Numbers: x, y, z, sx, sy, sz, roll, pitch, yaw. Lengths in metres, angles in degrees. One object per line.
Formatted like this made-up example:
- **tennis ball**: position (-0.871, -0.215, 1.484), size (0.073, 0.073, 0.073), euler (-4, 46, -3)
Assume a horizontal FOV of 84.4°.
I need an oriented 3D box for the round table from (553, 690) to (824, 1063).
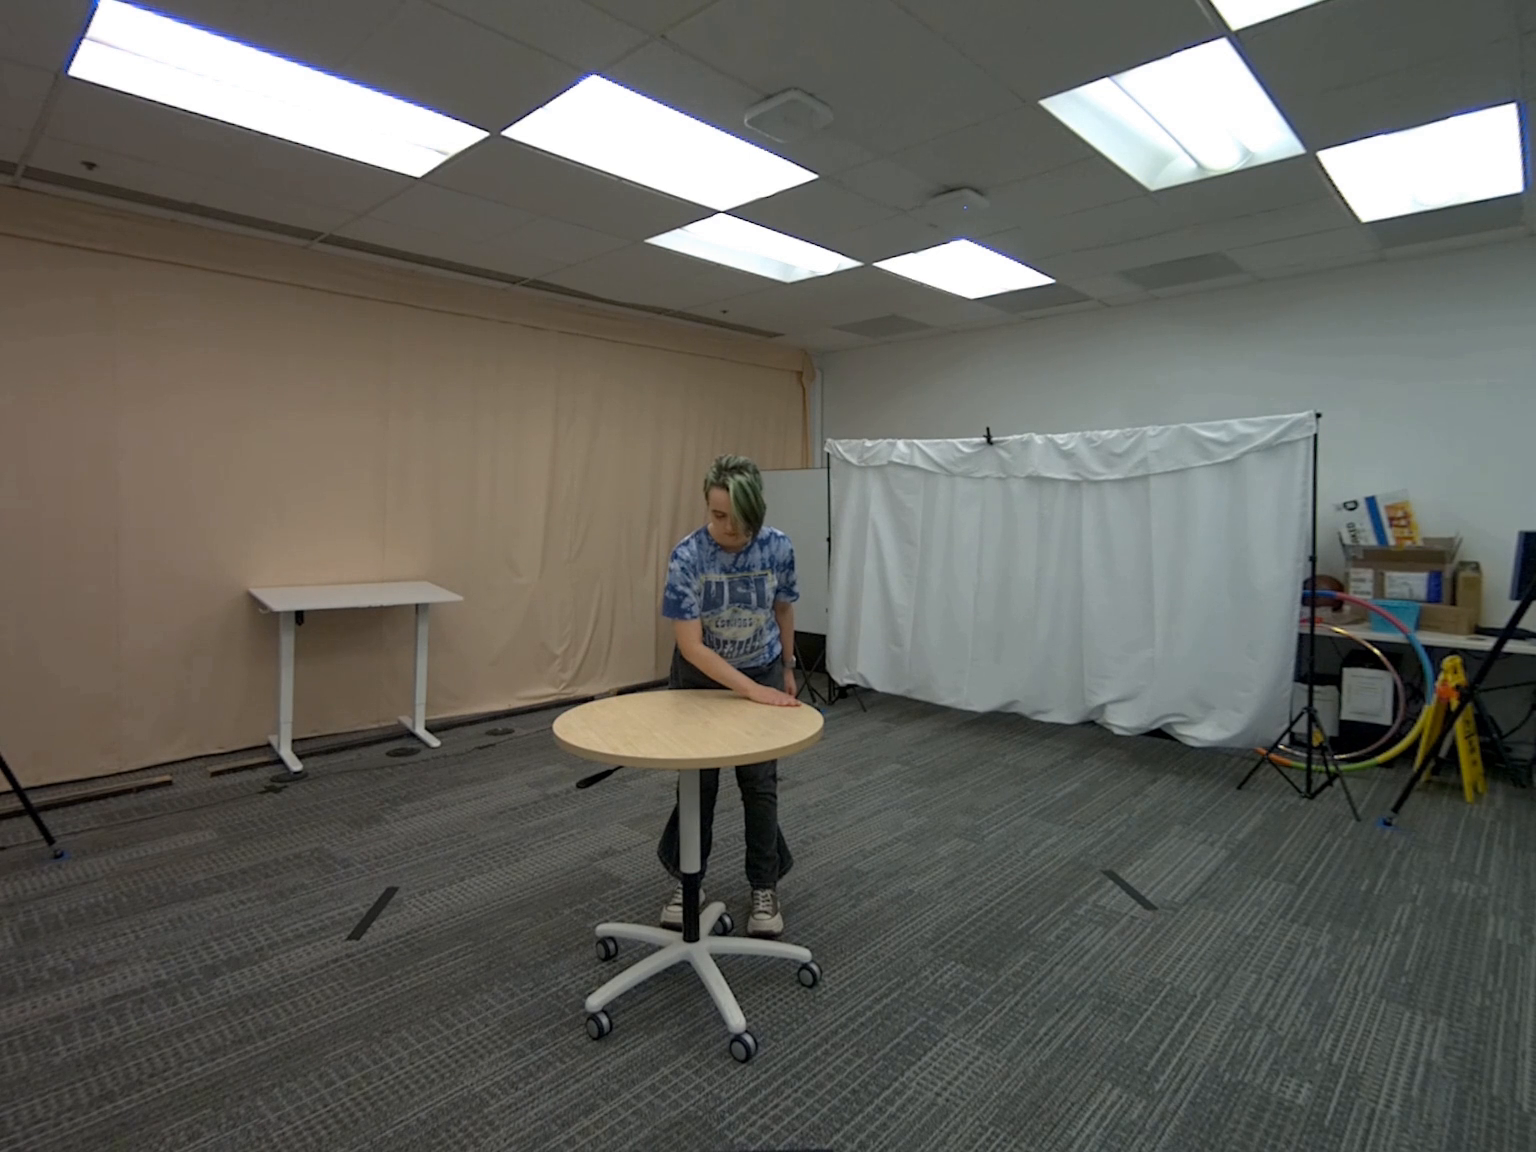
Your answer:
- **round table**: position (-0.229, 0.796, 2.434), size (0.784, 0.785, 0.788), euler (0, 4, -2)
